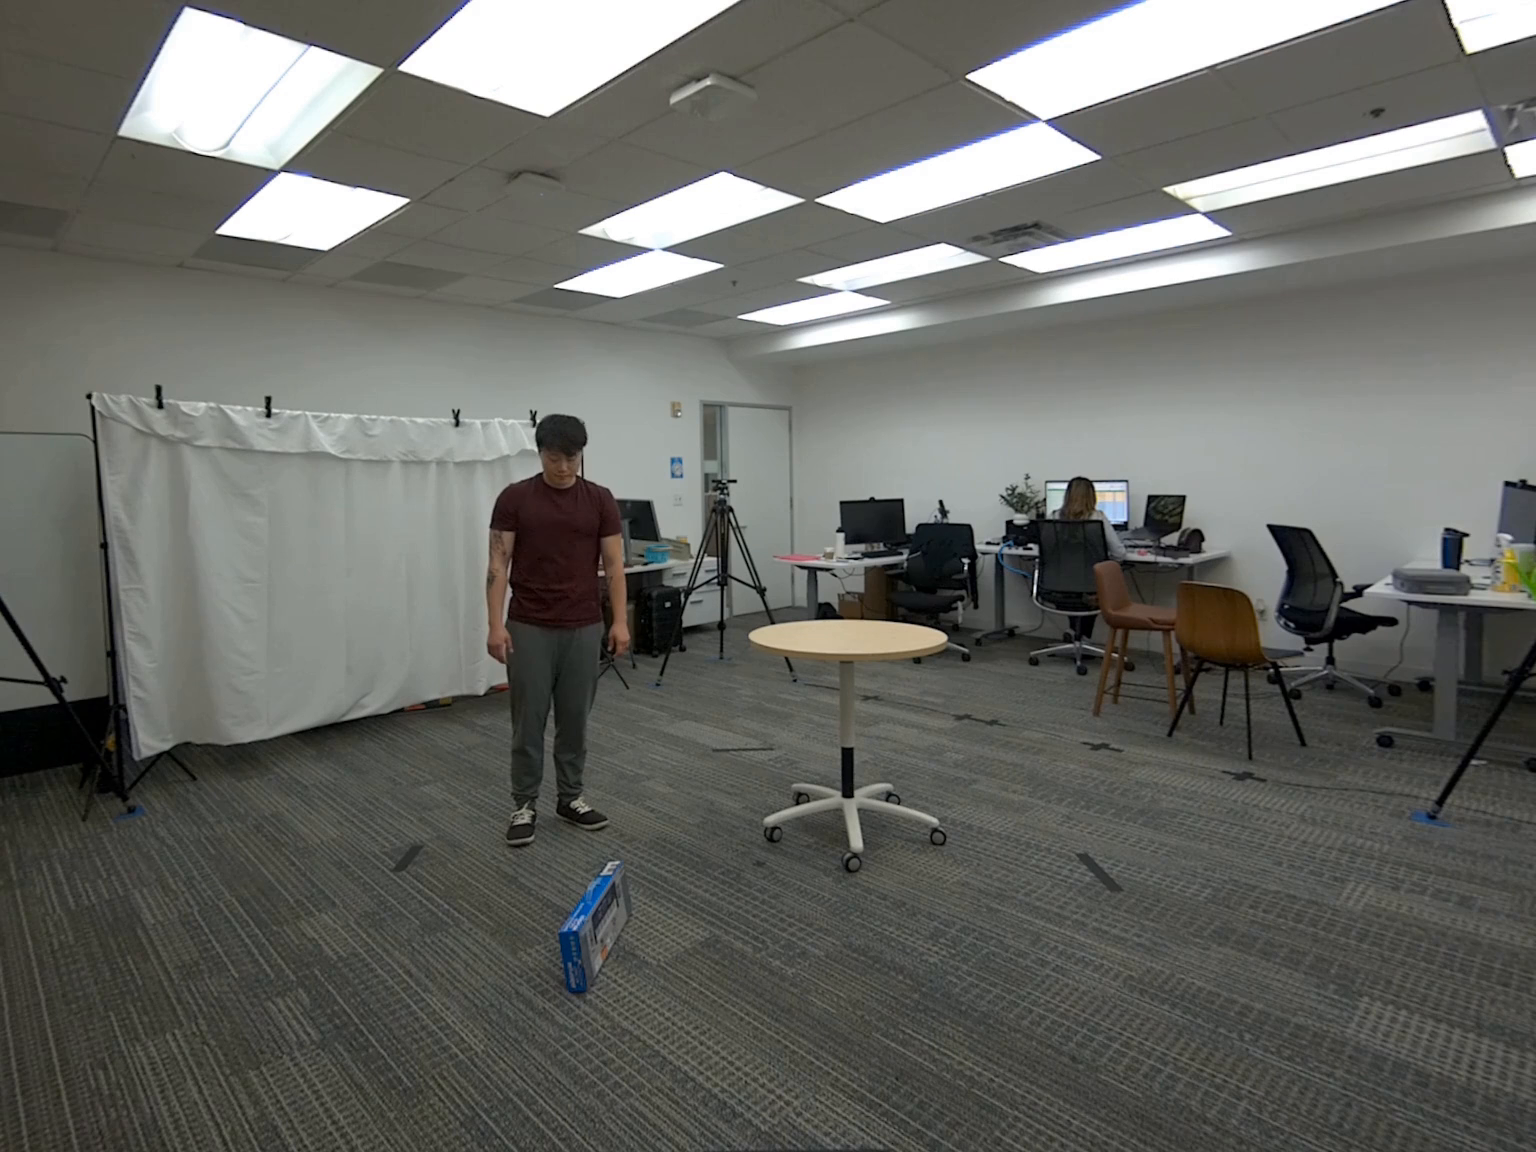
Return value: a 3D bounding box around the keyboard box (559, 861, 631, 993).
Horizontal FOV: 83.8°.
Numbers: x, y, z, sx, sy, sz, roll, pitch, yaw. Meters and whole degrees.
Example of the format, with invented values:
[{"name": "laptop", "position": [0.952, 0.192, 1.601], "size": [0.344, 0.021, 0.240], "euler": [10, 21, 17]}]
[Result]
[{"name": "keyboard box", "position": [-0.505, 1.035, 2.553], "size": [0.059, 0.175, 0.435], "euler": [-8, 5, 8]}]
